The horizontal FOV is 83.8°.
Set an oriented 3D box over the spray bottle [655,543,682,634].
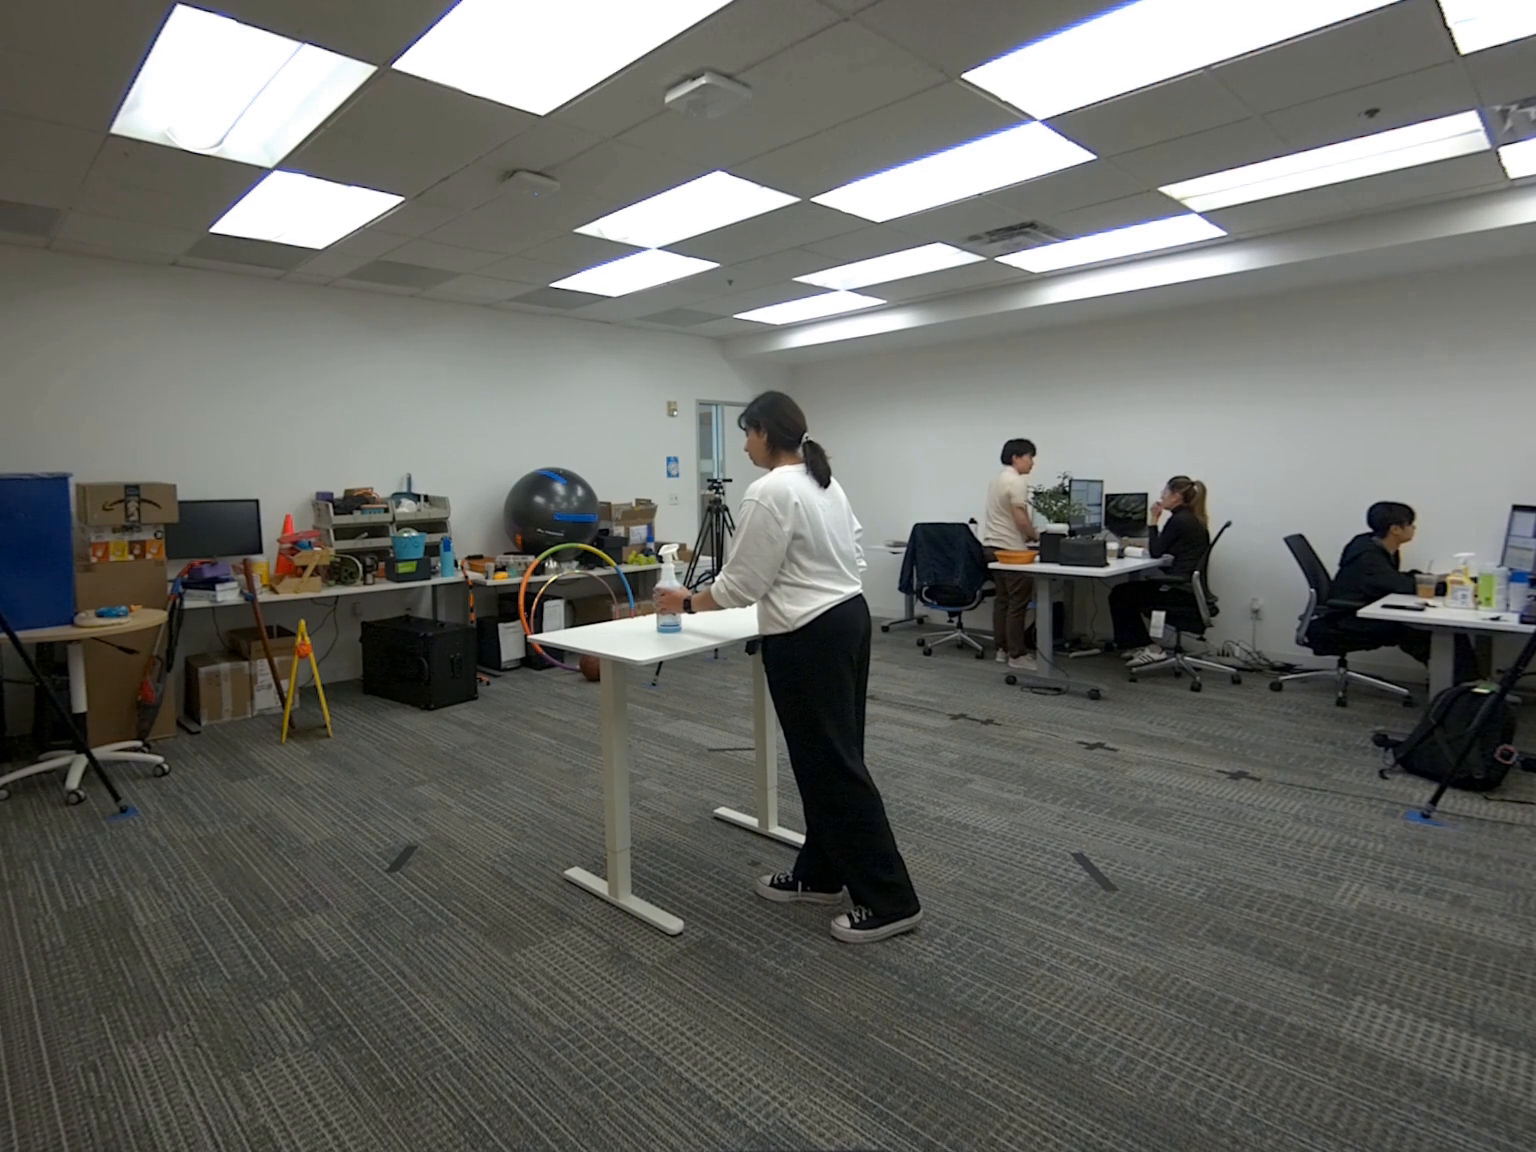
[{"bbox_3d":[-0.335,0.039,2.934,0.088,0.296,0.089,-1,4,-25],"label":"spray bottle"}]
